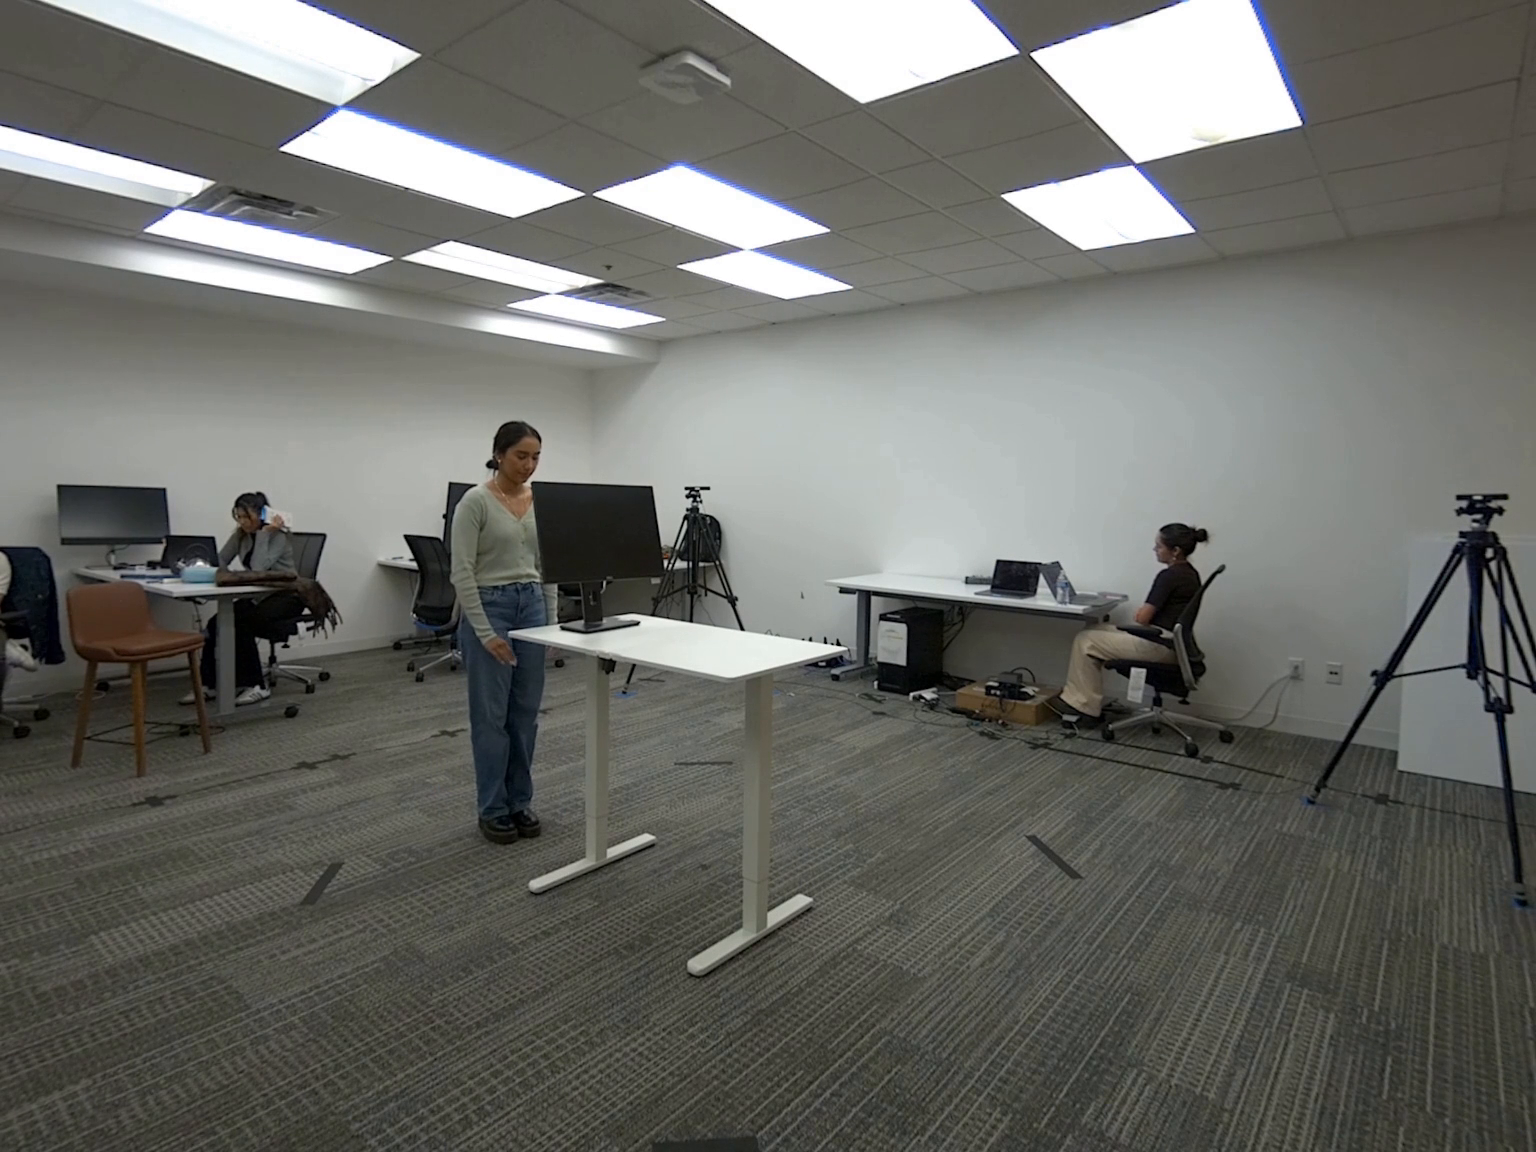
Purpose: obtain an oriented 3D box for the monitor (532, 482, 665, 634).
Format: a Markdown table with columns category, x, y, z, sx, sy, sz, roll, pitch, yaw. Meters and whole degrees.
| category | x | y | z | sx | sy | sz | roll | pitch | yaw |
| --- | --- | --- | --- | --- | --- | --- | --- | --- | --- |
| monitor | -0.637 | -0.070 | 3.049 | 0.193 | 0.522 | 0.523 | 1 | 3 | 40 |
